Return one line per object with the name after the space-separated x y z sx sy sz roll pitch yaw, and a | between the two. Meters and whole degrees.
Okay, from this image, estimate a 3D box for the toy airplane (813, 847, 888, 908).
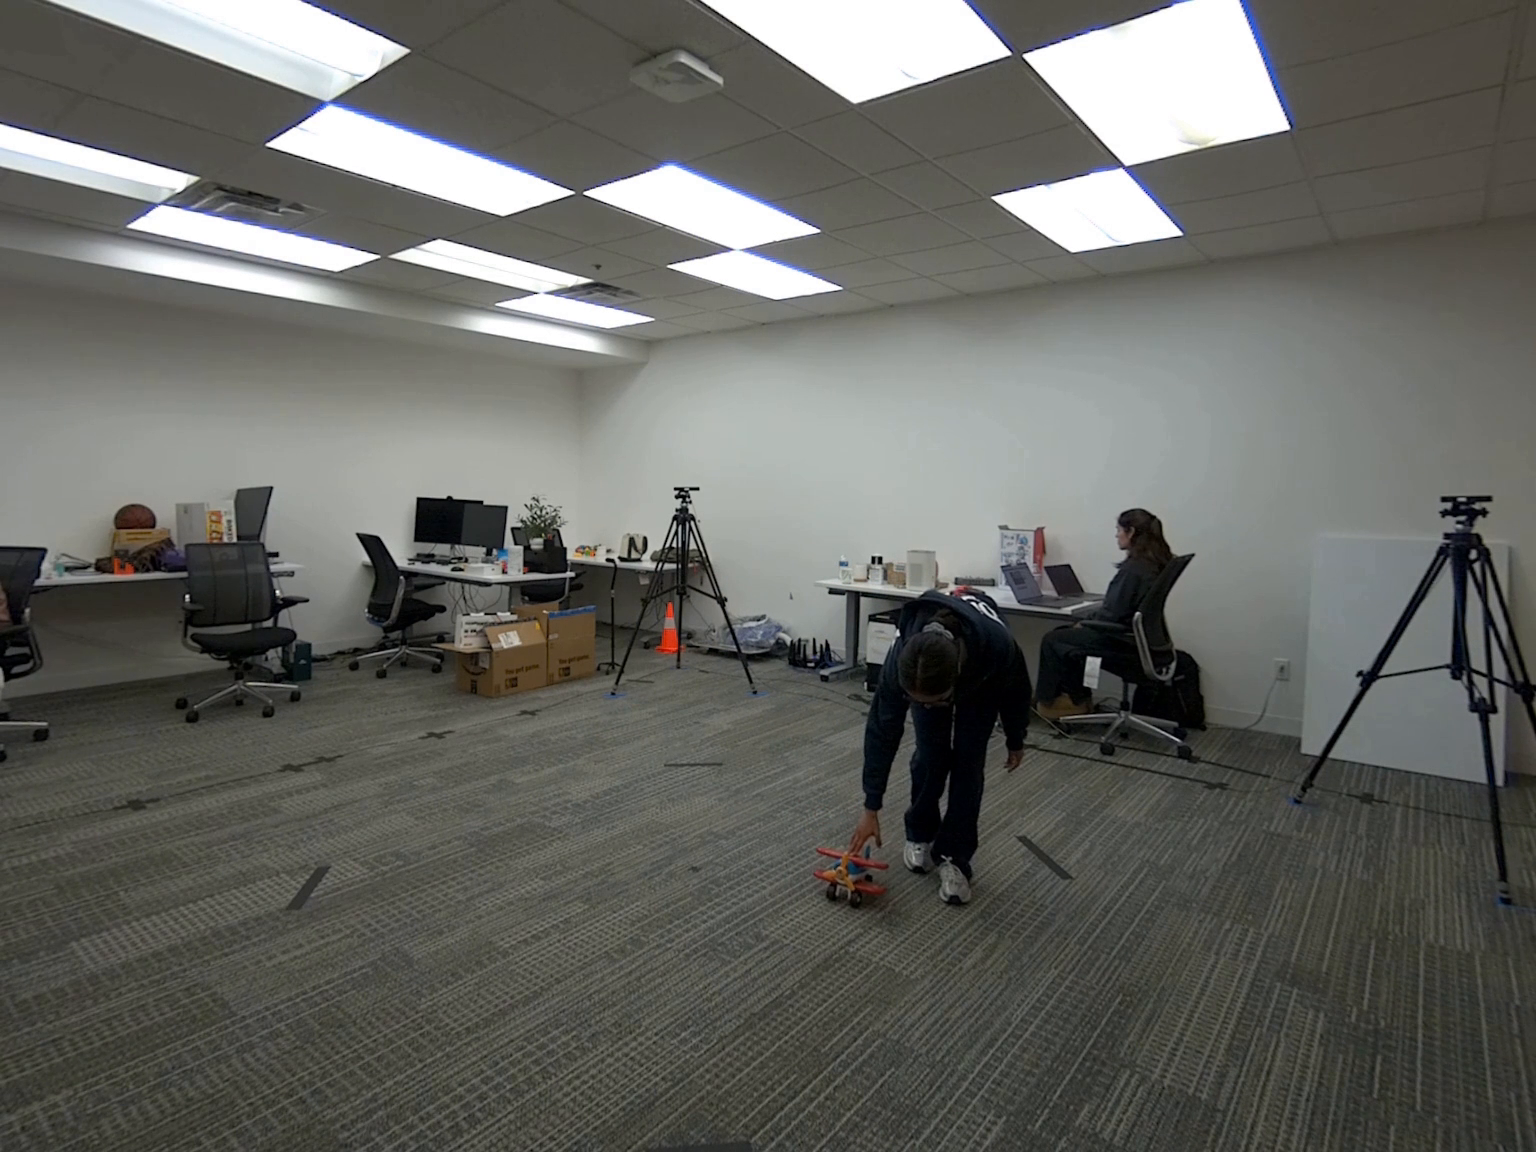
0.273 1.017 2.950 0.252 0.155 0.260 2 6 1 | toy airplane
